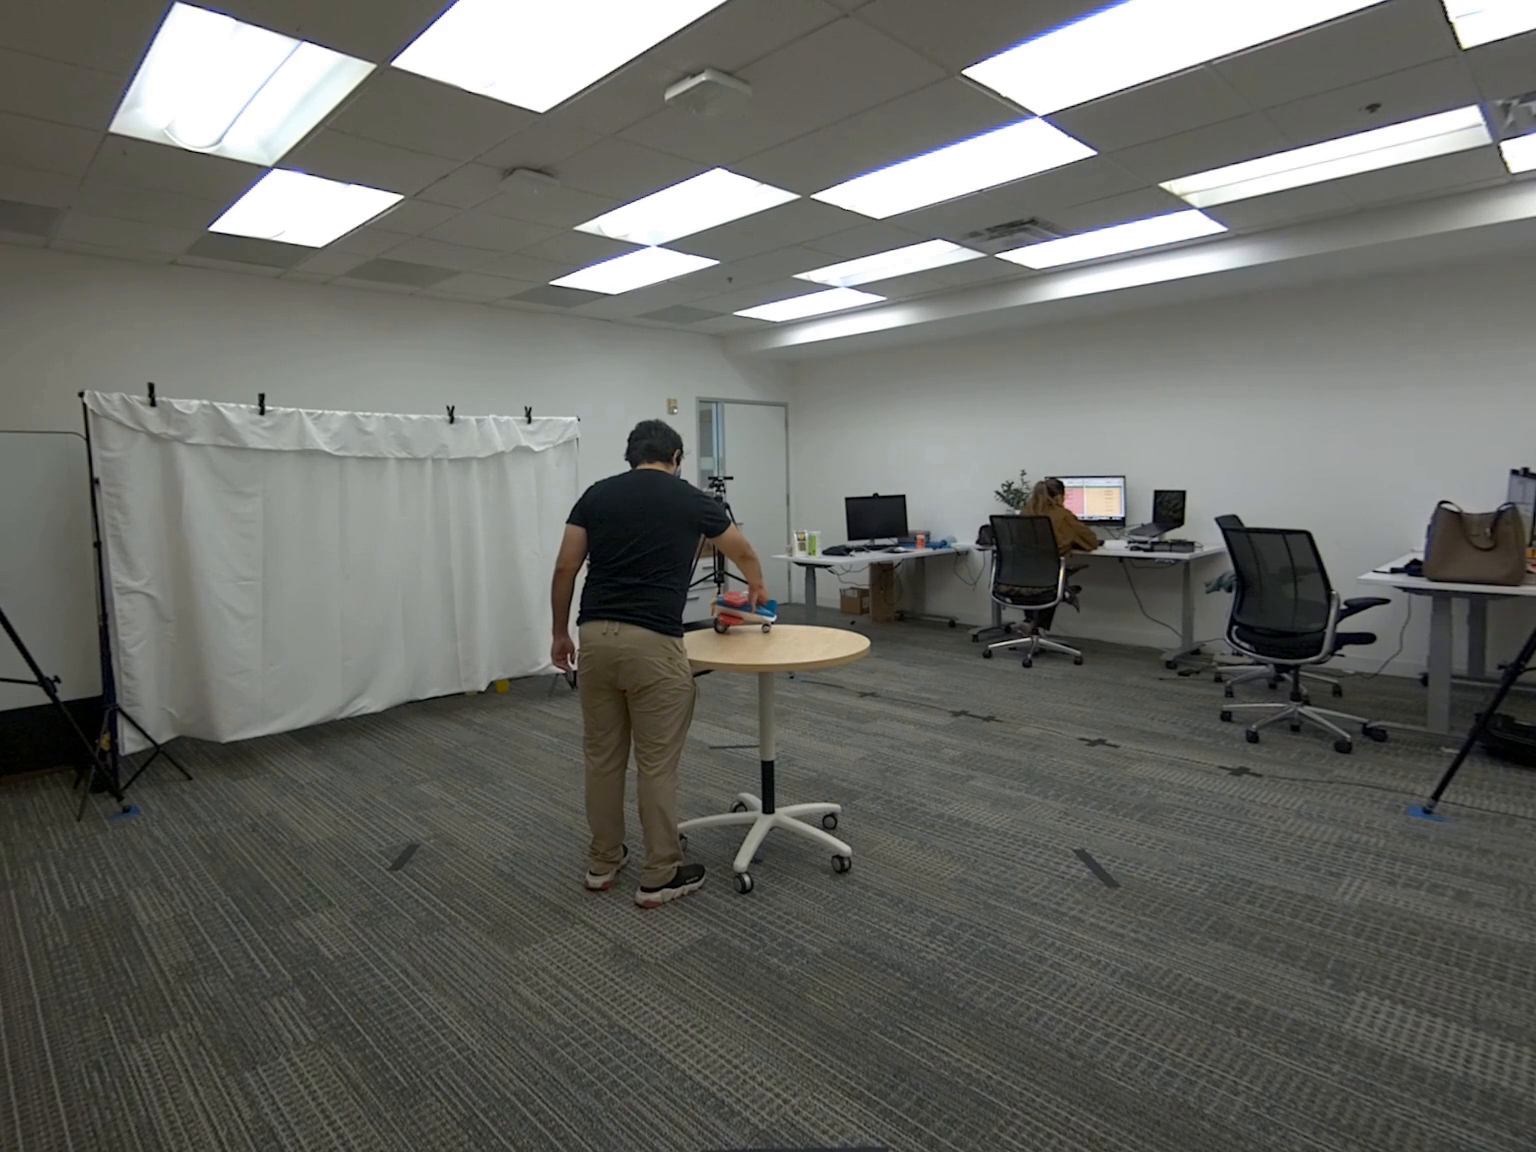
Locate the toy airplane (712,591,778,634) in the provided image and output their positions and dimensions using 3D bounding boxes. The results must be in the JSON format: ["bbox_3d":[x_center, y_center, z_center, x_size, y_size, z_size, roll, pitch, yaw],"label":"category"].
[{"bbox_3d":[-0.097,0.144,3.411,0.255,0.156,0.256,-5,6,-21],"label":"toy airplane"}]
